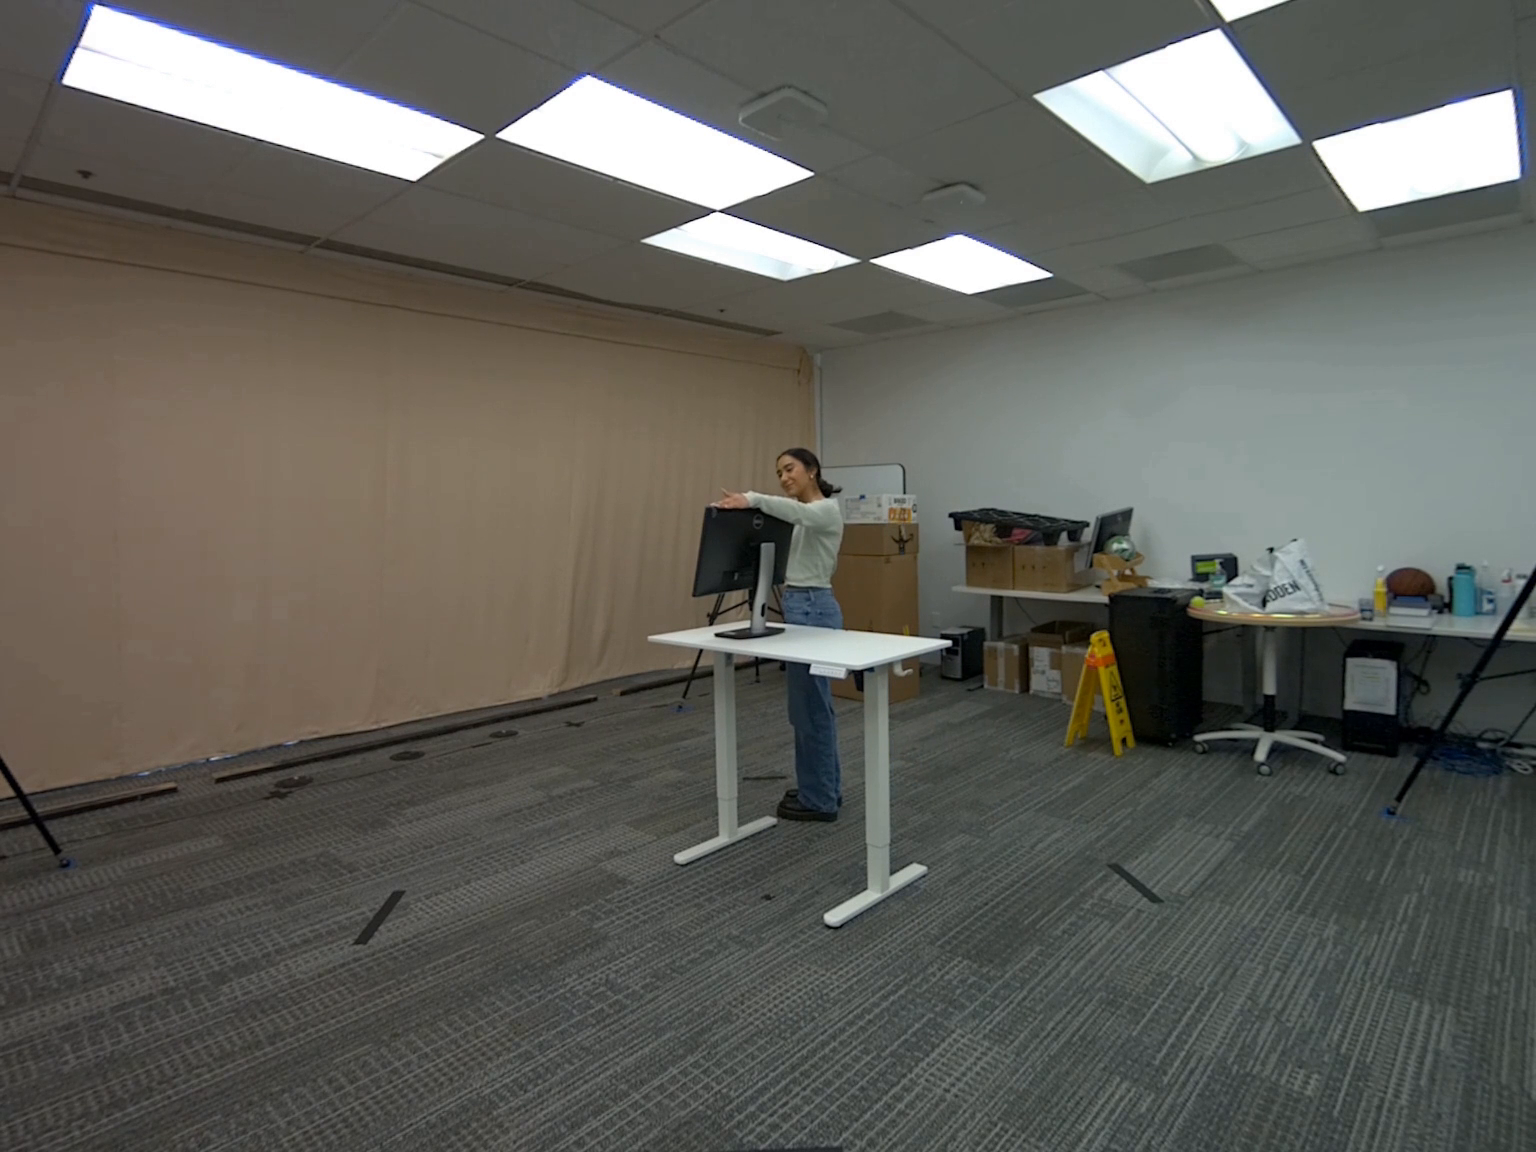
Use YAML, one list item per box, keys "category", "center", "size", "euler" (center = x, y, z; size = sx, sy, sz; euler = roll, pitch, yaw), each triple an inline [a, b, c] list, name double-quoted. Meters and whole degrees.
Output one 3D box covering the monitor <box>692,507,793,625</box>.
- category: "monitor"
  center: [-0.058, -0.020, 3.306]
  size: [0.193, 0.521, 0.523]
  euler: [4, 6, 39]
